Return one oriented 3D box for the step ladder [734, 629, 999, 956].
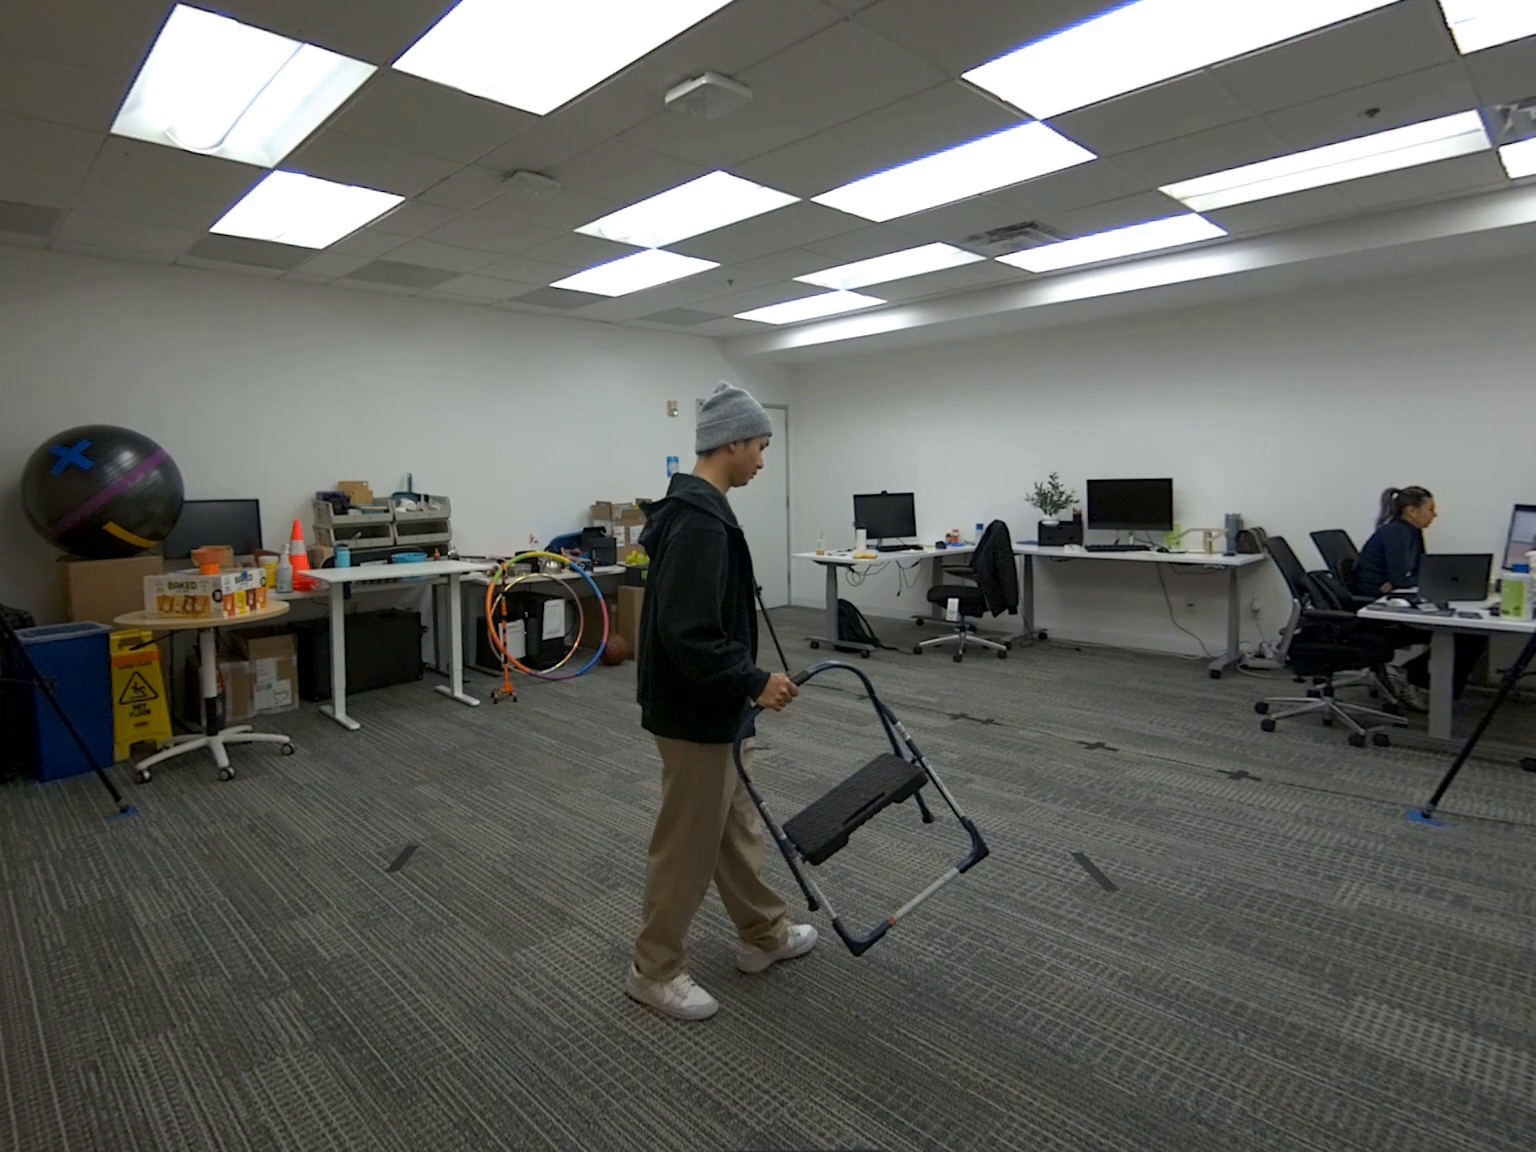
[{"bbox_3d":[0.182,0.512,2.186,0.428,0.604,0.352,-30,3,-15],"label":"step ladder"}]
